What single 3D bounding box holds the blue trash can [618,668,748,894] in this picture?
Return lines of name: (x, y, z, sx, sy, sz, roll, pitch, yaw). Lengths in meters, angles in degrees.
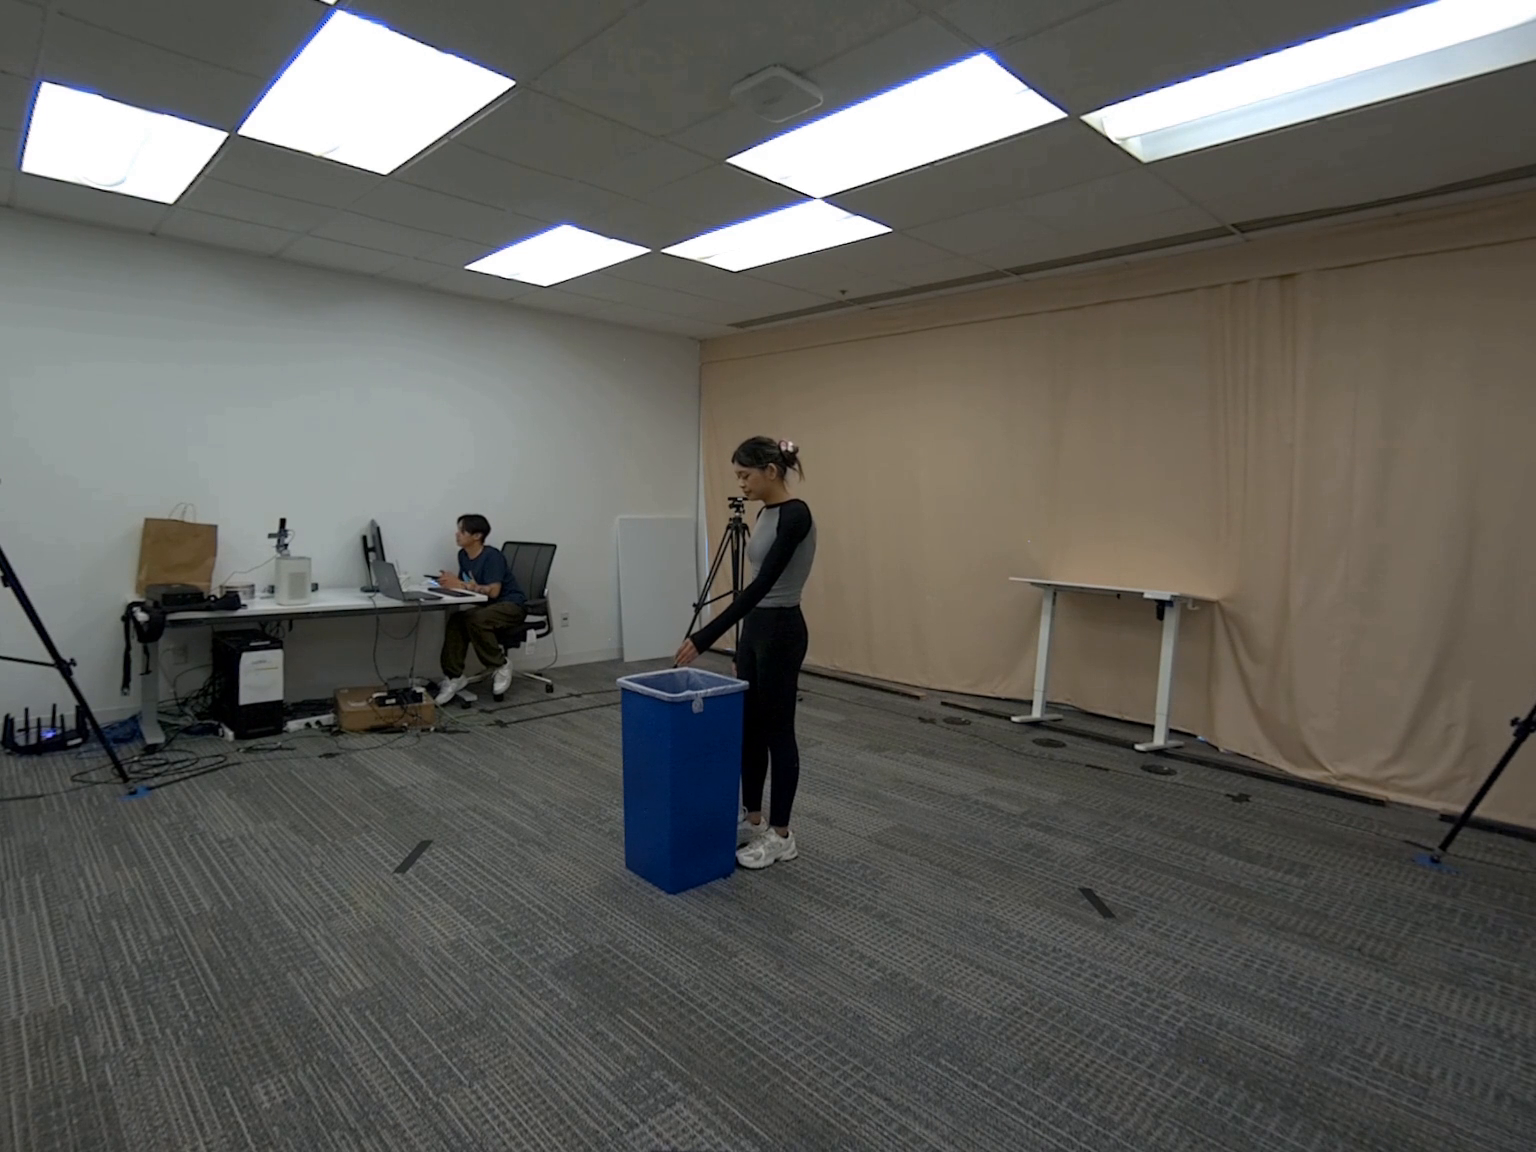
blue trash can: (-0.337, 0.743, 3.132, 0.369, 0.712, 0.383, -1, 4, -42)
